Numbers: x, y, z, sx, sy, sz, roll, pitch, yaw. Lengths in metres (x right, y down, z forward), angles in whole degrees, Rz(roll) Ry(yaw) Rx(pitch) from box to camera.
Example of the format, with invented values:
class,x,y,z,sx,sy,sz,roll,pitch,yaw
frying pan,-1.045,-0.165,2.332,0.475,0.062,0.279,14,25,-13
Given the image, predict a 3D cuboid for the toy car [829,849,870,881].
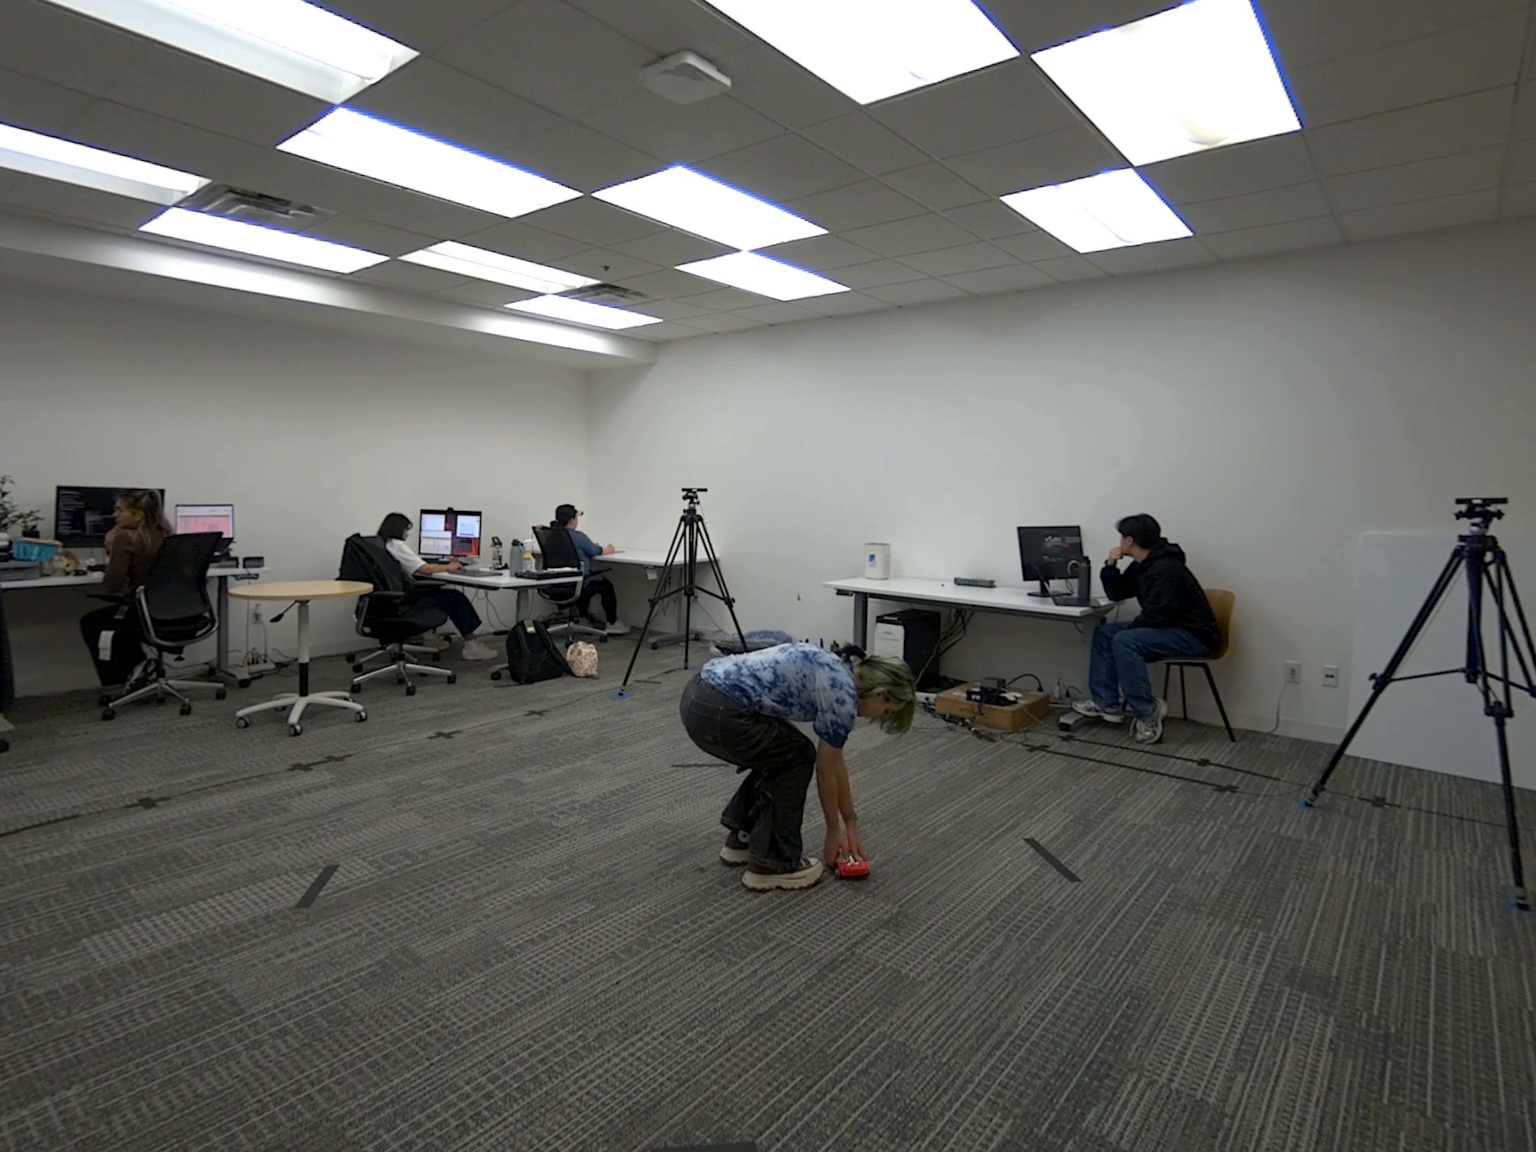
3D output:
class,x,y,z,sx,sy,sz,roll,pitch,yaw
toy car,0.274,1.043,3.151,0.129,0.082,0.261,-1,16,-12
